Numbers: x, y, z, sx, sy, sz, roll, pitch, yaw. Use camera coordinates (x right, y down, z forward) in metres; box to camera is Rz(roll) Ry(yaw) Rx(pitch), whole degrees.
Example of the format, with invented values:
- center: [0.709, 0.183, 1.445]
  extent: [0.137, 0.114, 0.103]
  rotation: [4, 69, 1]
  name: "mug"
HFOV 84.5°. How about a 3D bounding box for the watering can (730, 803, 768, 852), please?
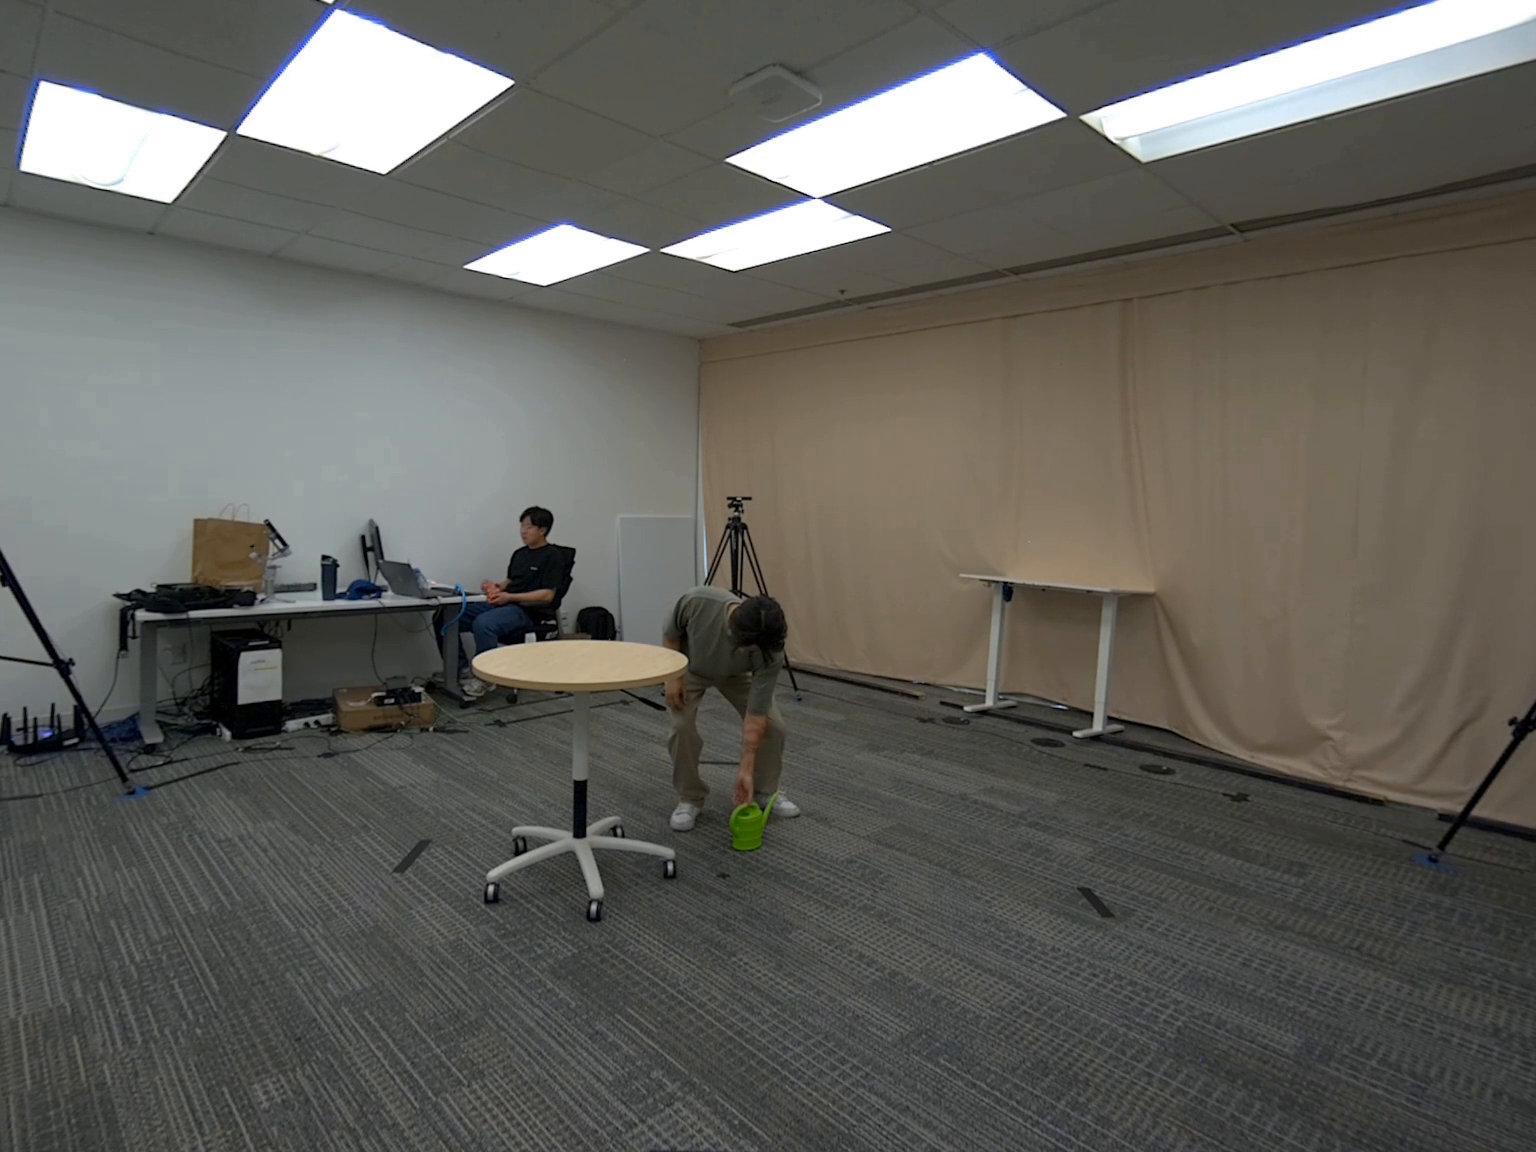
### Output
- center: [-0.056, 0.990, 3.395]
  extent: [0.272, 0.176, 0.100]
  rotation: [-3, 6, -33]
  name: "watering can"
